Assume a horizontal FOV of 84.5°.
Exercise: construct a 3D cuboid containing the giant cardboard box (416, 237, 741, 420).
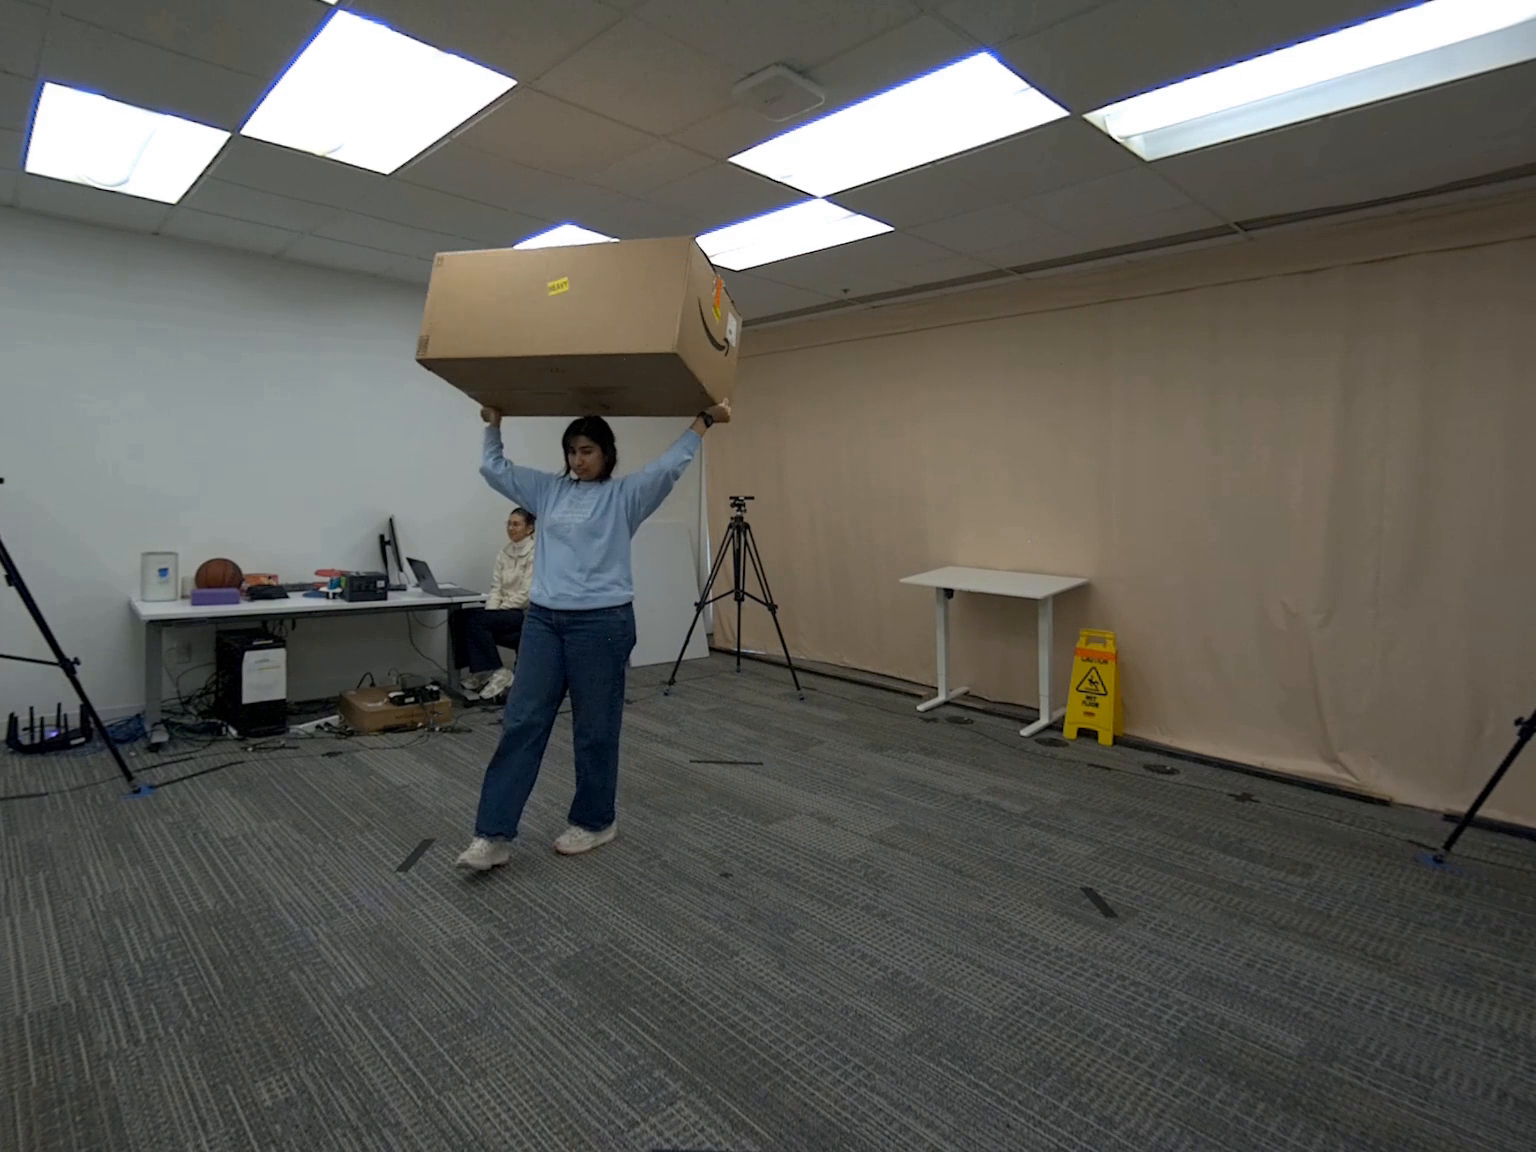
[{"bbox_3d":[-0.692,-0.896,3.158,1.041,0.429,0.565,4,-10,18],"label":"giant cardboard box"}]
